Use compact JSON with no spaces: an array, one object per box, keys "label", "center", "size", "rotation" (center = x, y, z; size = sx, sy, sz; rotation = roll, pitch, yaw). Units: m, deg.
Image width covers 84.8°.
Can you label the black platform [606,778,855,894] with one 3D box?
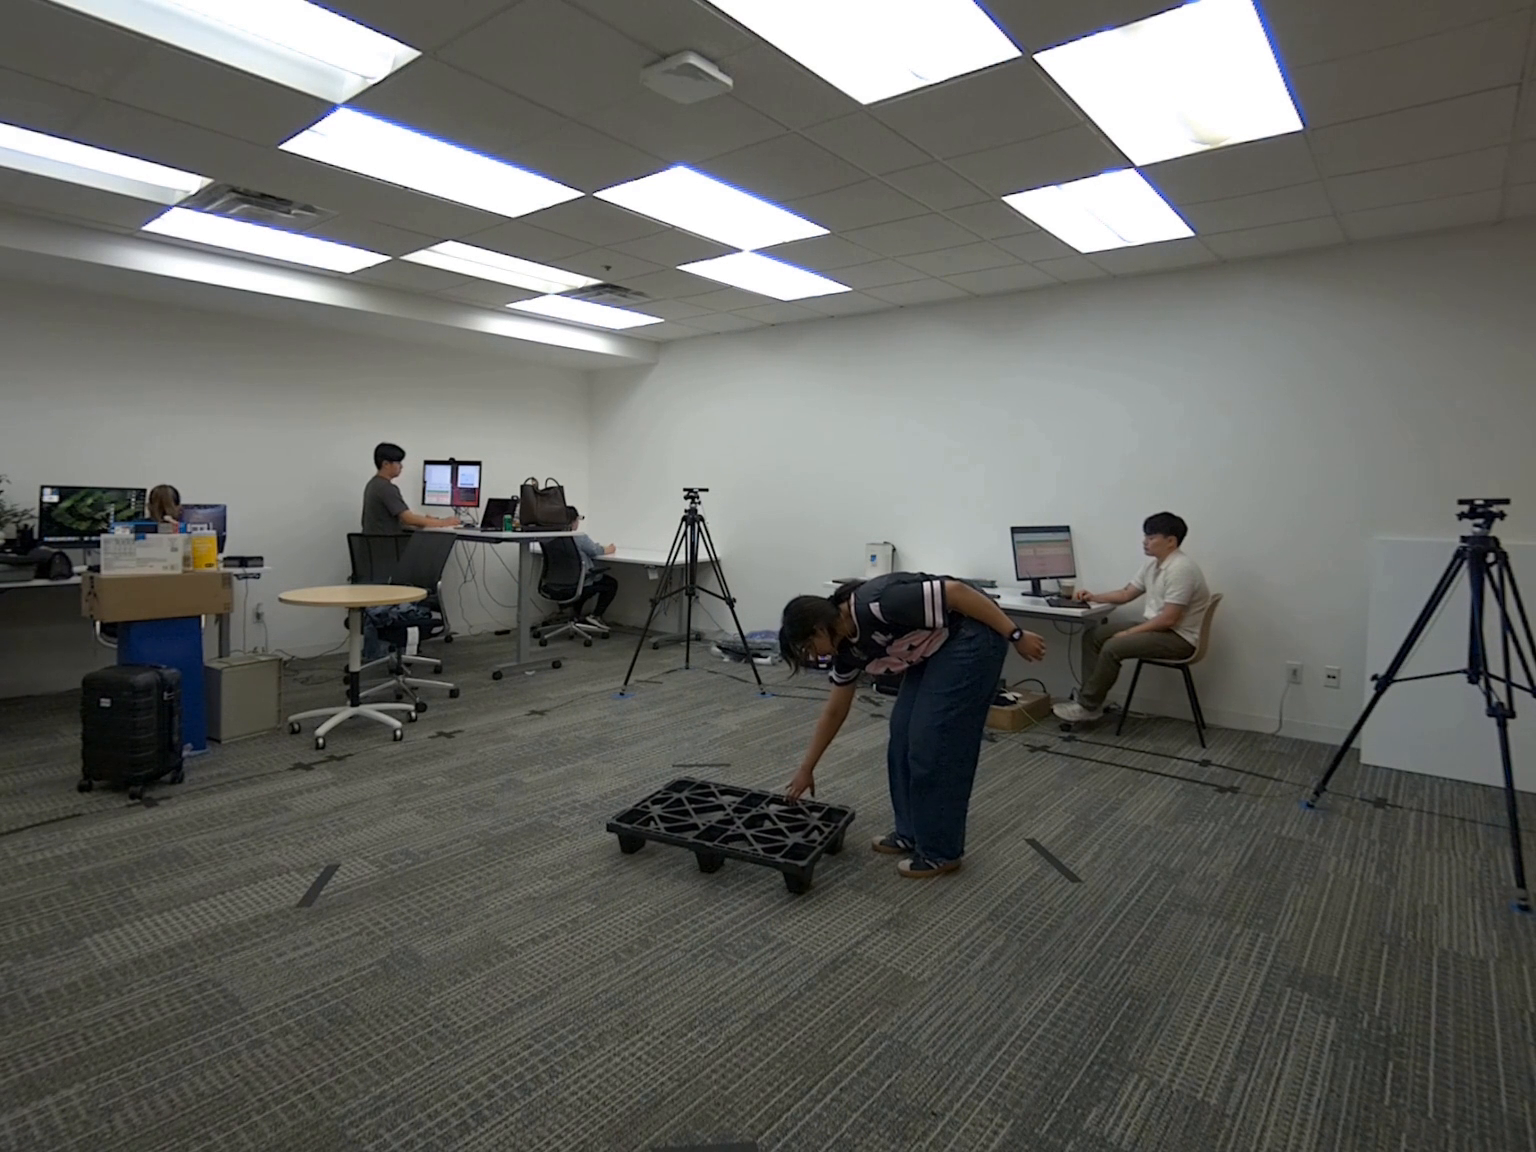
[{"label":"black platform","center":[-0.144,0.985,3.292],"size":[0.826,0.143,0.592],"rotation":[4,6,25]}]
